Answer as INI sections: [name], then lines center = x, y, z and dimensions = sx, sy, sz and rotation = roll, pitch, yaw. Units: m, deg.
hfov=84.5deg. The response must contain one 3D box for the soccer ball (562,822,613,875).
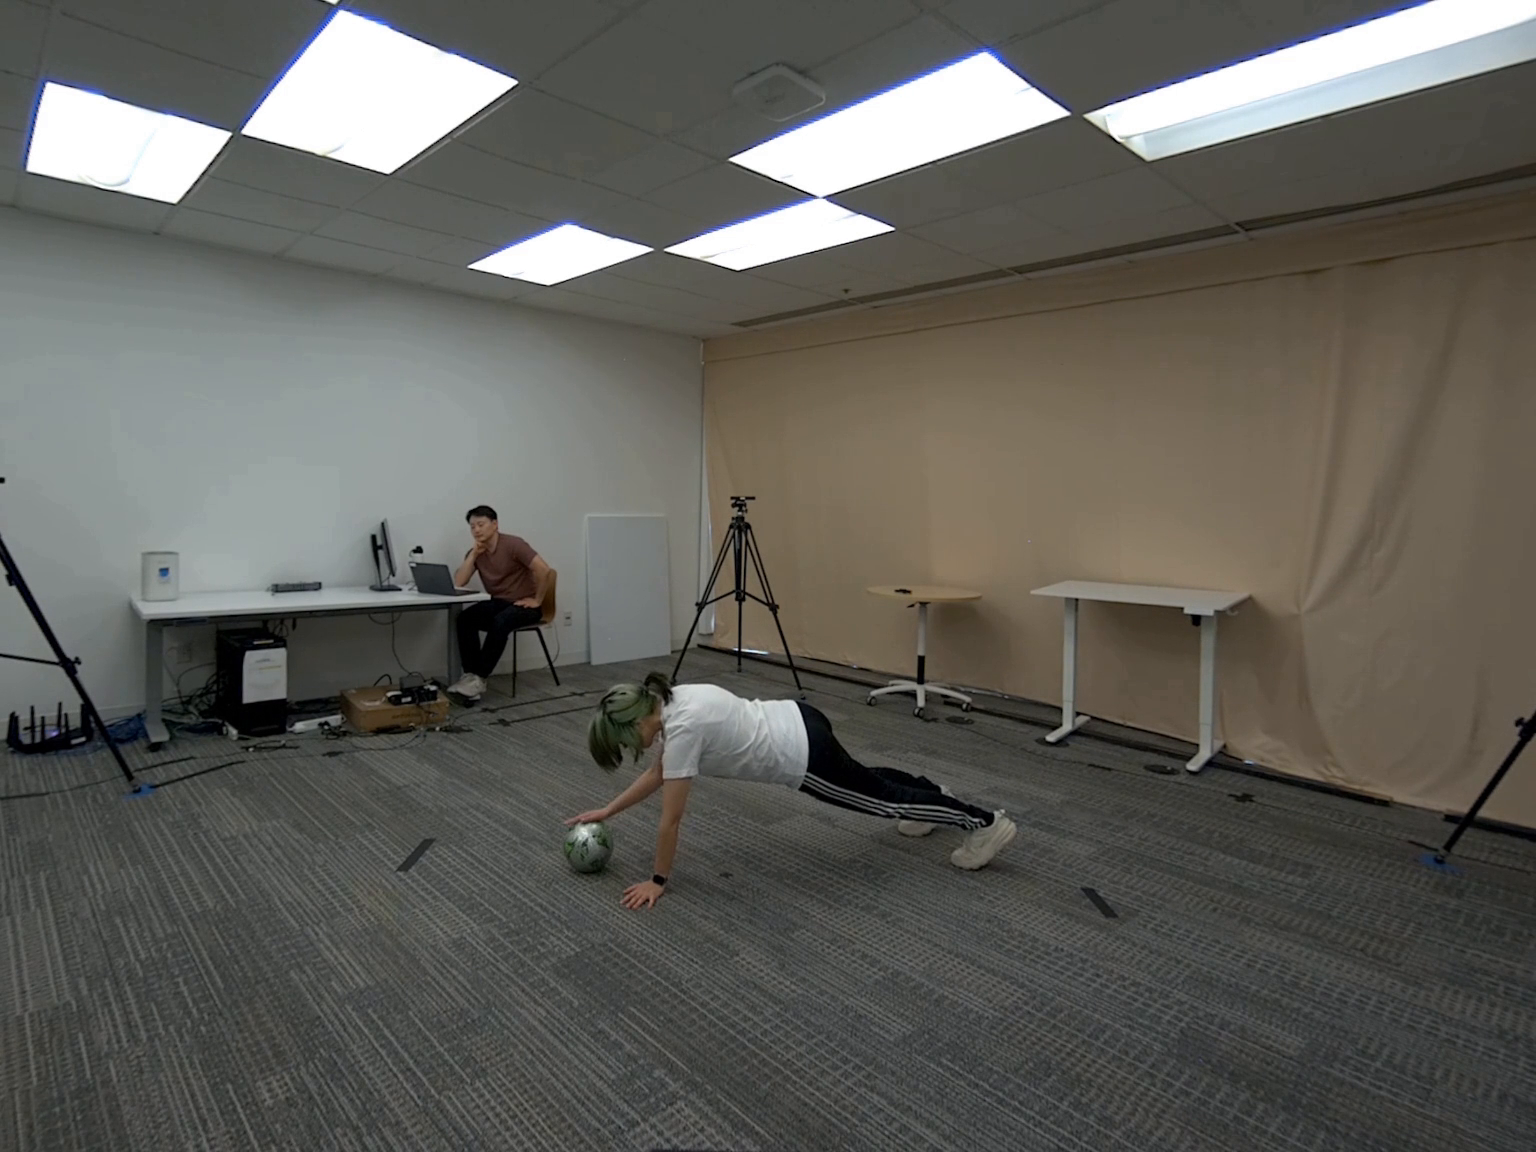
[soccer ball]
center = -0.655, 0.992, 3.130
dimensions = 0.187, 0.187, 0.188
rotation = 1, 4, -1
